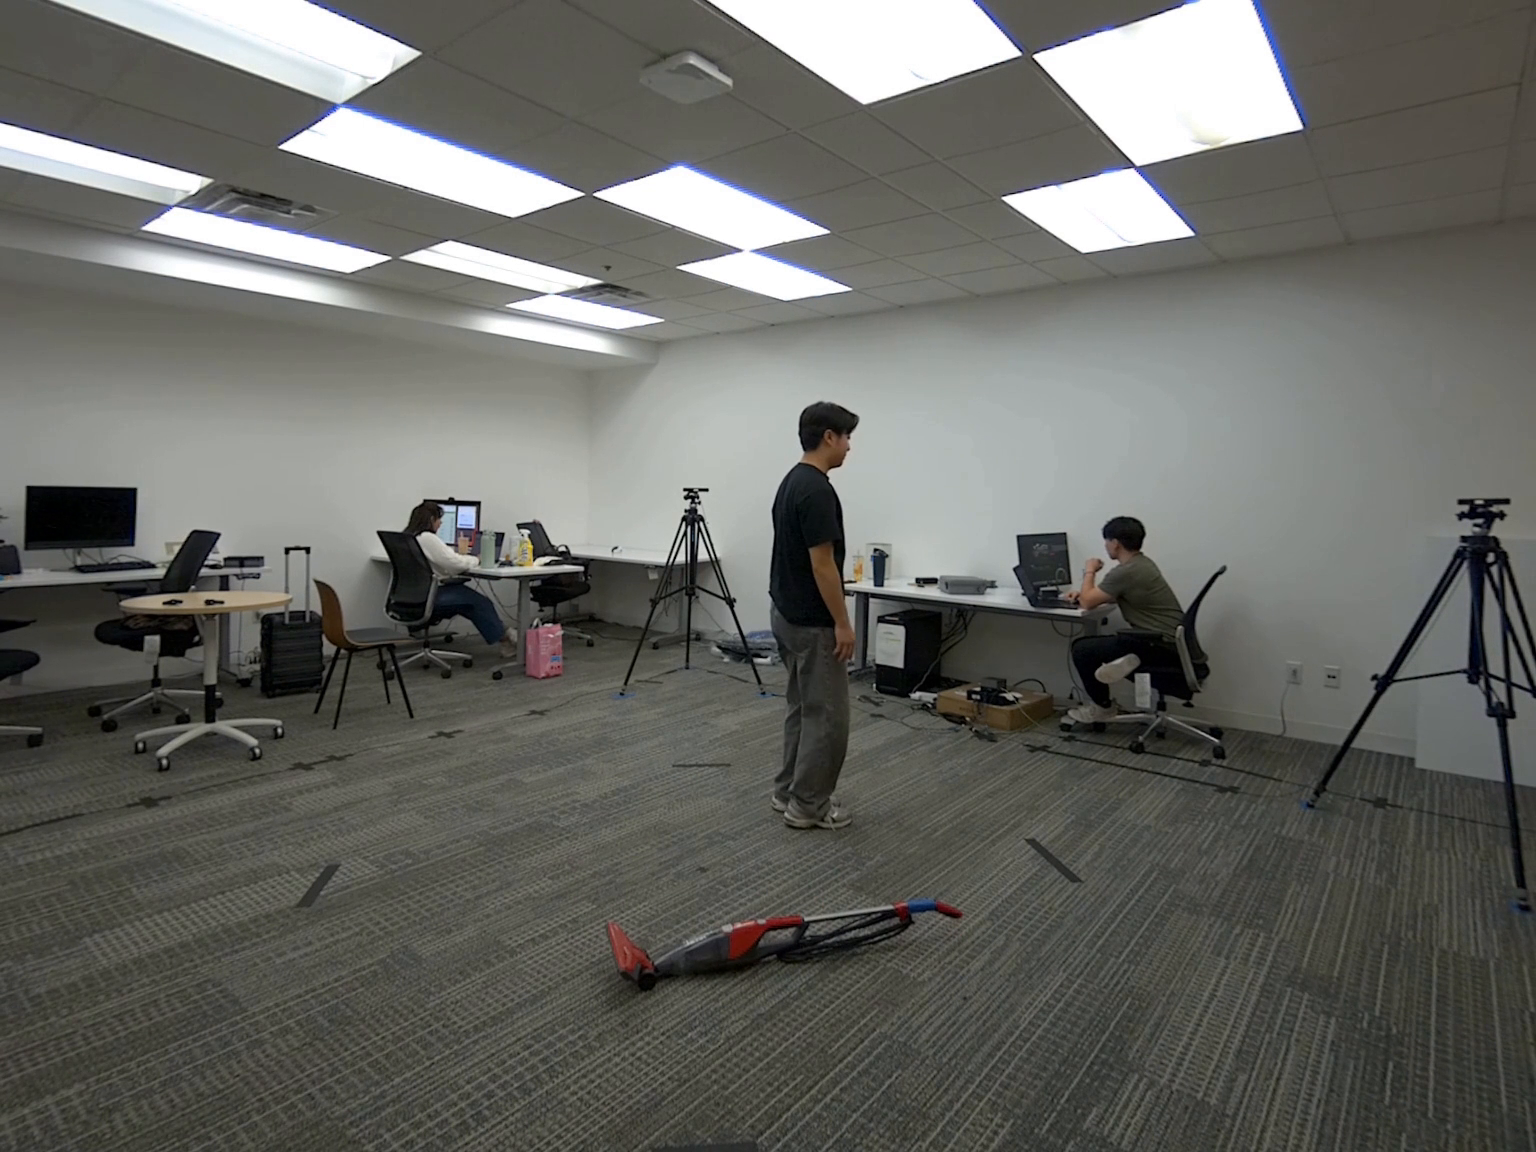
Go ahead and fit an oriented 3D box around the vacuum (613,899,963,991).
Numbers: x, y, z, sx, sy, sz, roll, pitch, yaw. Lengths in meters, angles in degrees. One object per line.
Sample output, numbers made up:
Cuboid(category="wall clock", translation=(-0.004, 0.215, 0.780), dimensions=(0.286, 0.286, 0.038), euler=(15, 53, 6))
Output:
Cuboid(category="vacuum", translation=(0.101, 1.073, 2.535), dimensions=(1.032, 0.143, 0.258), euler=(0, 8, -15))
